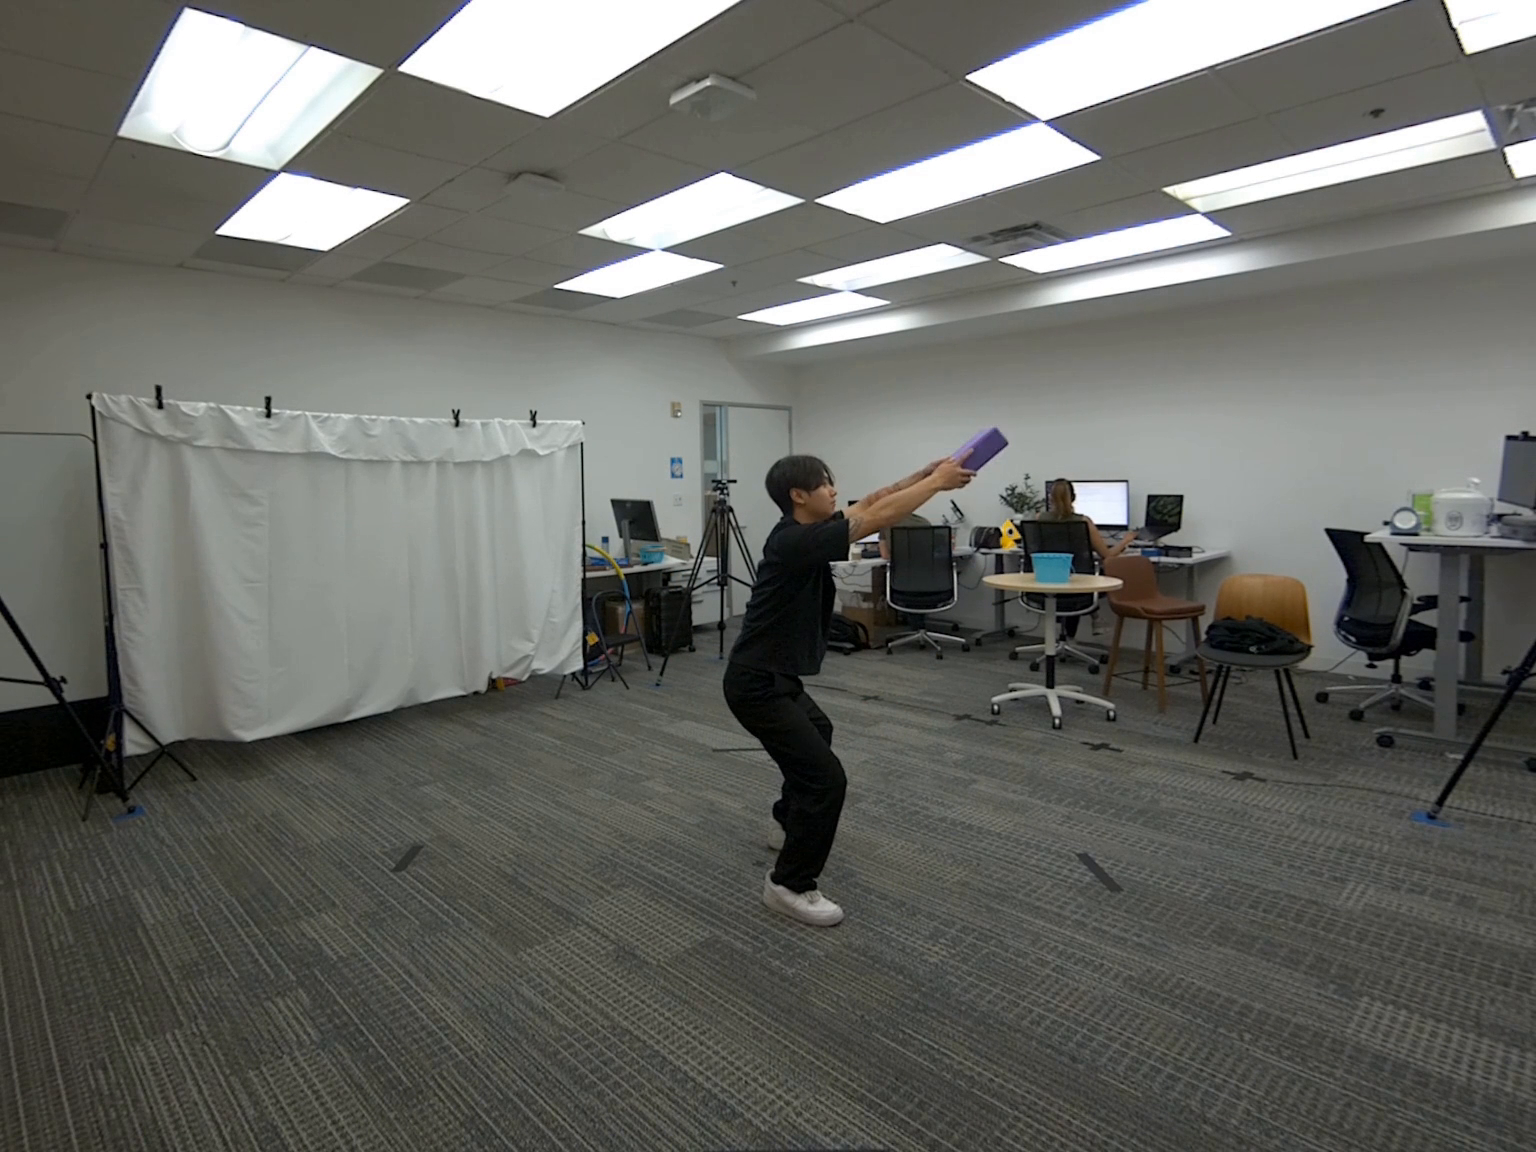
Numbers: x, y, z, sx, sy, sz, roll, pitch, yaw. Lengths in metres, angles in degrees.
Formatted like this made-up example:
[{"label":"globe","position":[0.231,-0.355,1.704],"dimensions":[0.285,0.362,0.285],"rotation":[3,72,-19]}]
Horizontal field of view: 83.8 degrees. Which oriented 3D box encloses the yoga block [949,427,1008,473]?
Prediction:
[{"label":"yoga block","position":[0.689,-0.406,2.872],"dimensions":[0.229,0.076,0.150],"rotation":[-43,6,0]}]
